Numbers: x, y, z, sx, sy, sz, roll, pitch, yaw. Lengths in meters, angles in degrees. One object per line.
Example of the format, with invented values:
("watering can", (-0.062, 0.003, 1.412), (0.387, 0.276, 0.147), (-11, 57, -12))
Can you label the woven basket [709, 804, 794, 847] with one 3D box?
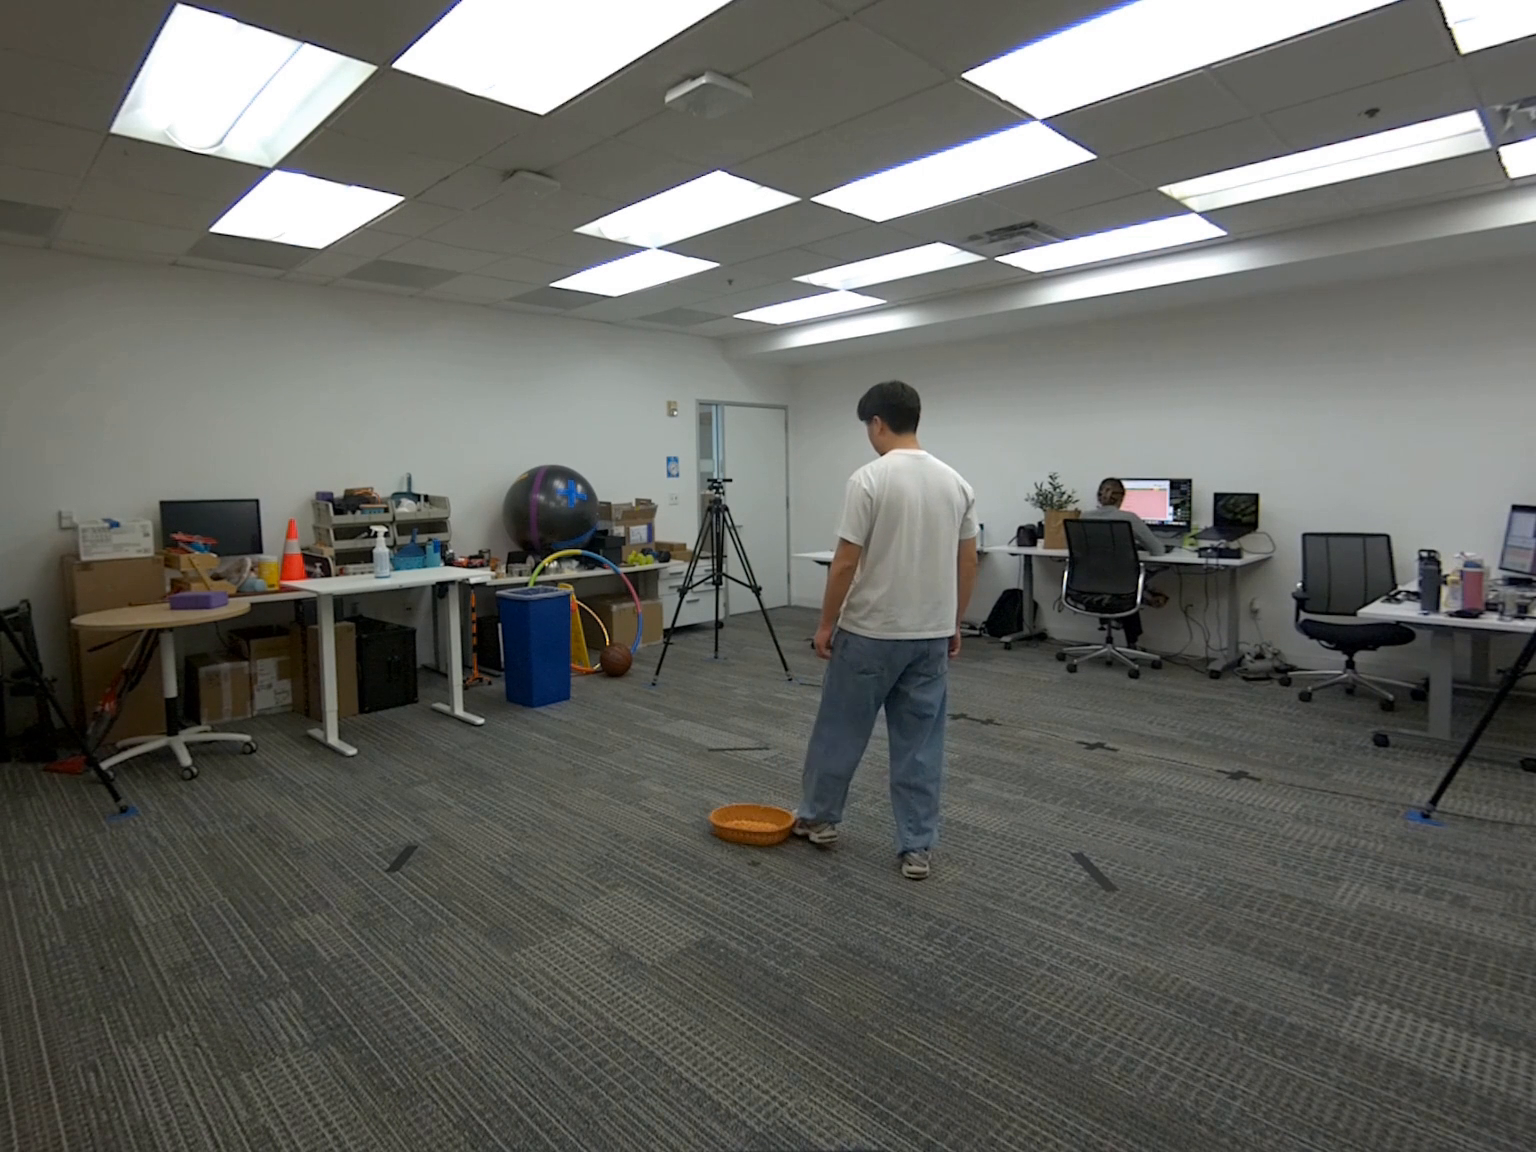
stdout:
("woven basket", (-0.051, 0.977, 3.352), (0.359, 0.073, 0.247), (2, 7, 27))
